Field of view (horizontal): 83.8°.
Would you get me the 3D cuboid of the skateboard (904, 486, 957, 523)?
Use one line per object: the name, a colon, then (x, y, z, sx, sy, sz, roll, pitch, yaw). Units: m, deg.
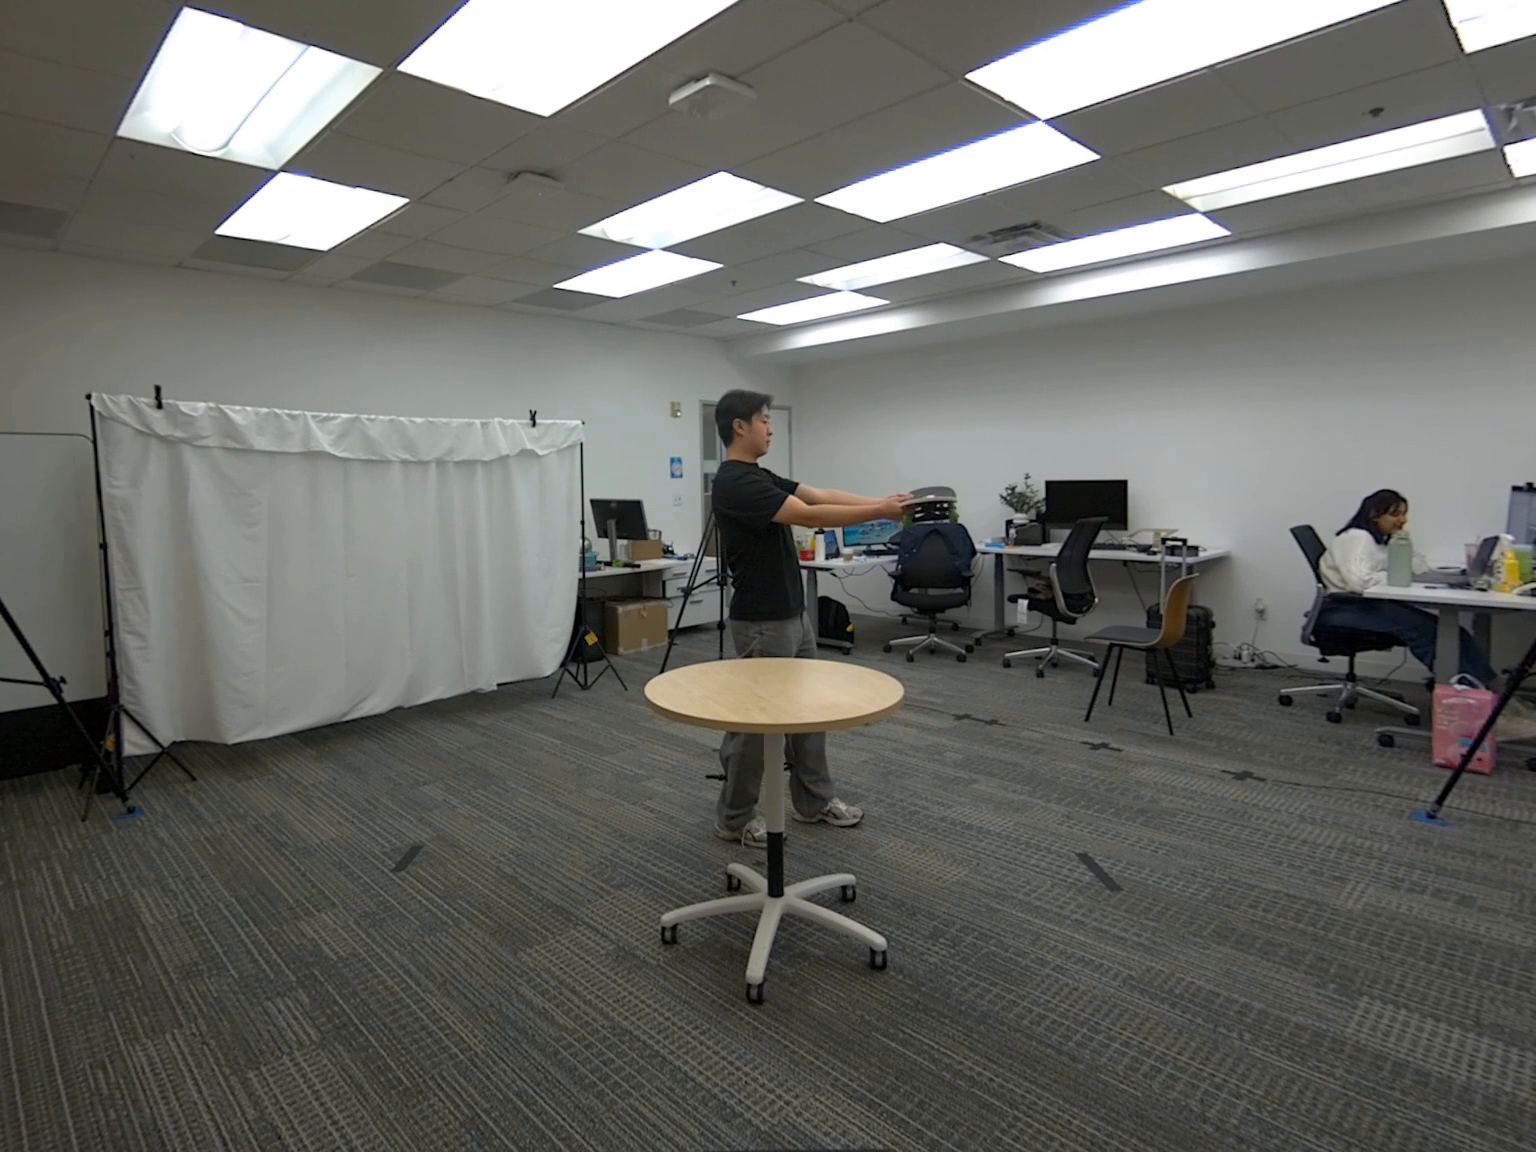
skateboard: (0.602, -0.266, 3.171, 0.196, 0.109, 0.780, -1, 9, 13)
